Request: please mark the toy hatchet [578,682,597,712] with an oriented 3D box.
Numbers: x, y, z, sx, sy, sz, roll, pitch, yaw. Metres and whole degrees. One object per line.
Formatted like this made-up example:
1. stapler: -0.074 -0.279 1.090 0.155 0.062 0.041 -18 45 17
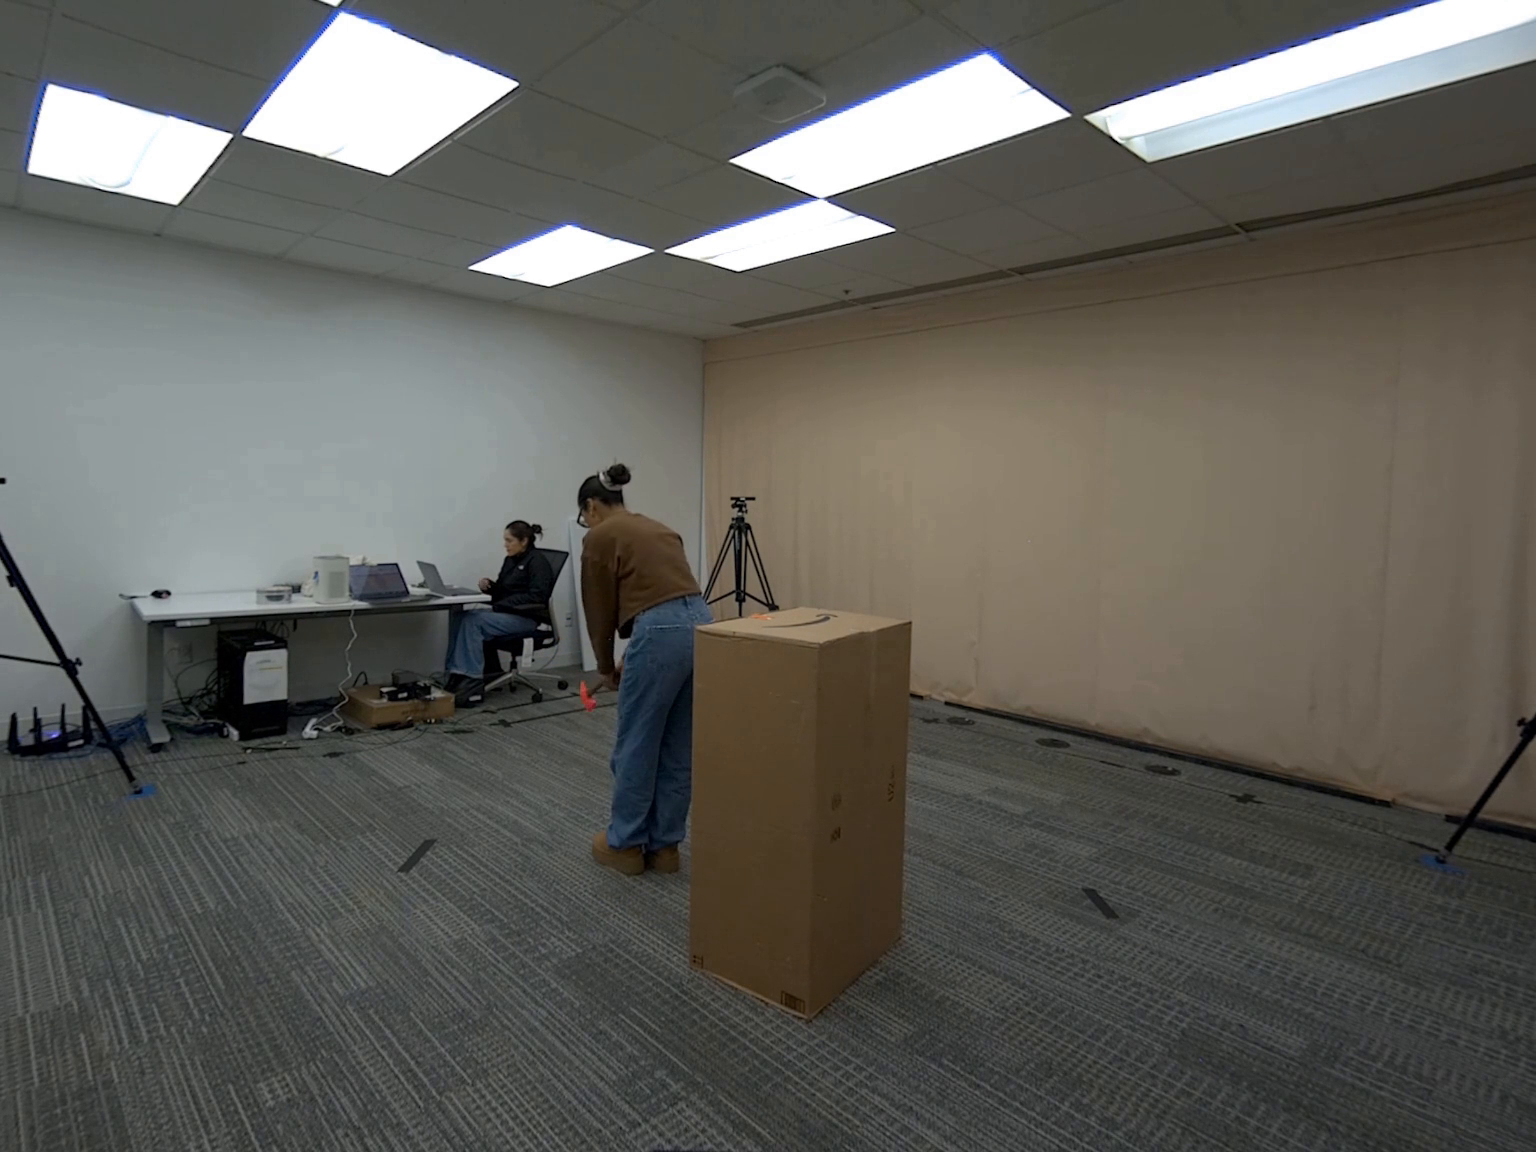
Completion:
1. toy hatchet: -0.699 0.483 3.413 0.029 0.132 0.275 11 -16 -44
